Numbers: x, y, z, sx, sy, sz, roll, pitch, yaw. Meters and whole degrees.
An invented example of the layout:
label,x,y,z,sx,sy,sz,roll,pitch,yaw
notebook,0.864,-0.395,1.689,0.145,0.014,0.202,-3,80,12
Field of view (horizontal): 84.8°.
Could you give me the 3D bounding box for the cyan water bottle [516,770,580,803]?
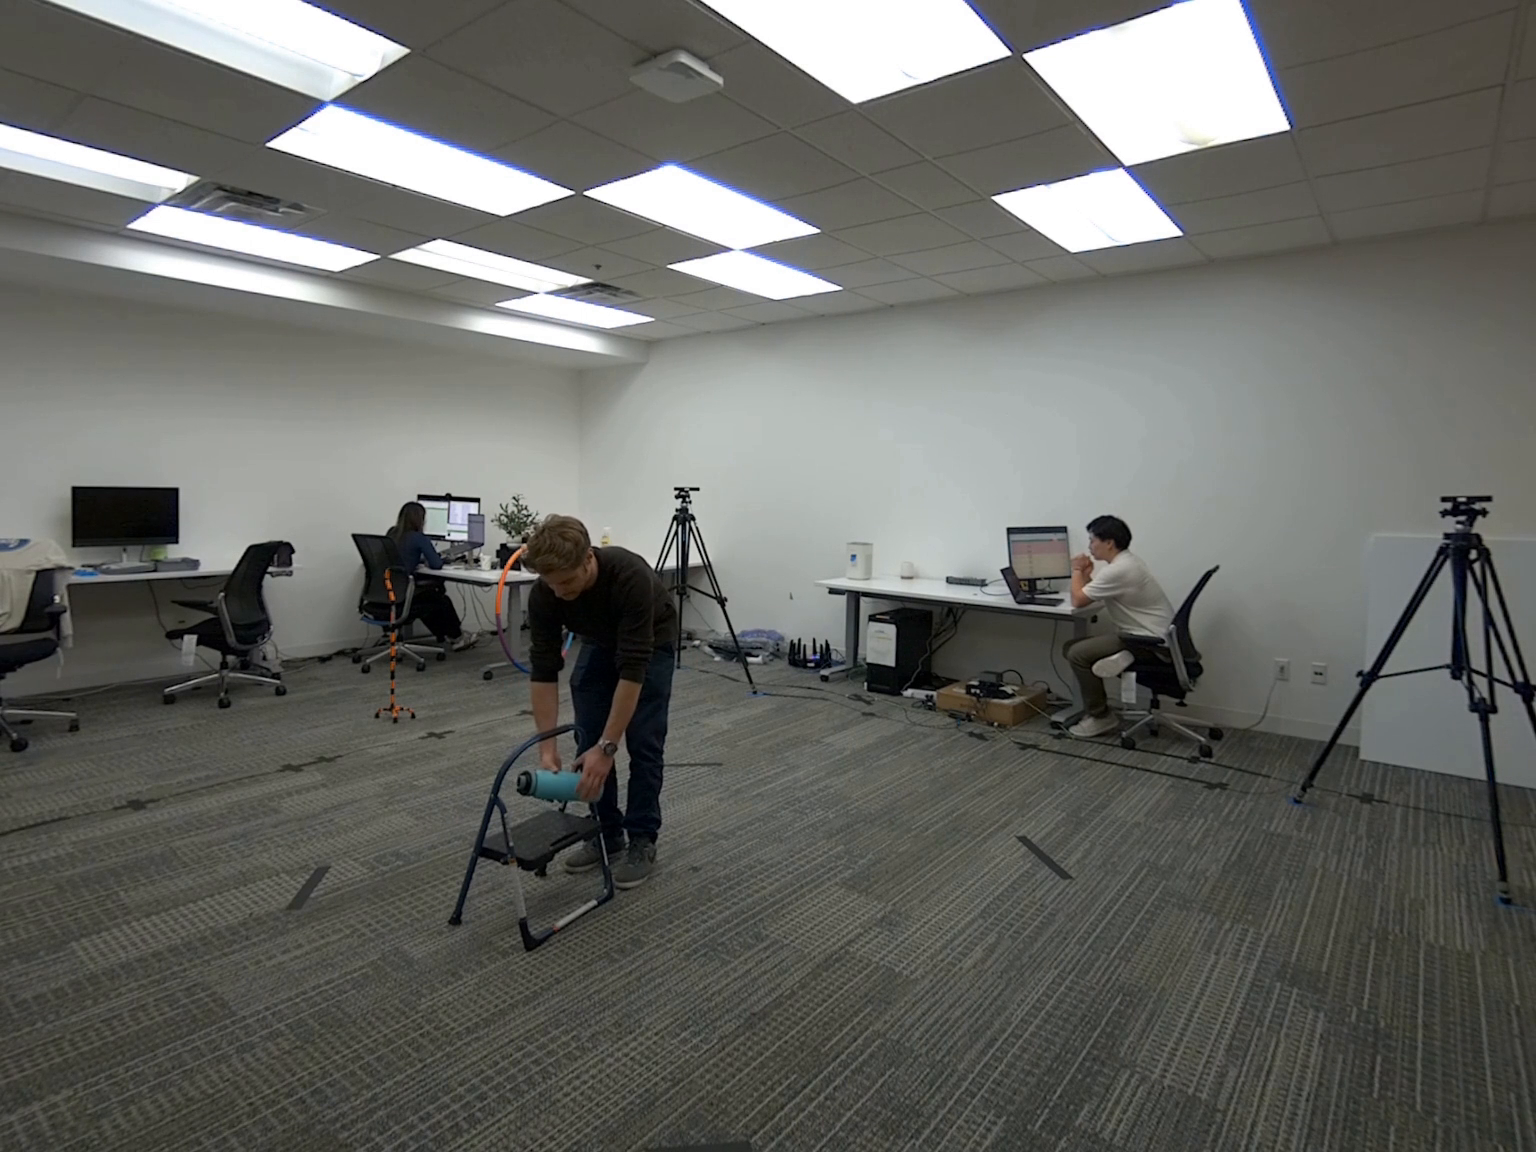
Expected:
label,x,y,z,sx,sy,sz,roll,pitch,yaw
cyan water bottle,-0.696,0.672,2.757,0.274,0.092,0.095,11,-2,-30
